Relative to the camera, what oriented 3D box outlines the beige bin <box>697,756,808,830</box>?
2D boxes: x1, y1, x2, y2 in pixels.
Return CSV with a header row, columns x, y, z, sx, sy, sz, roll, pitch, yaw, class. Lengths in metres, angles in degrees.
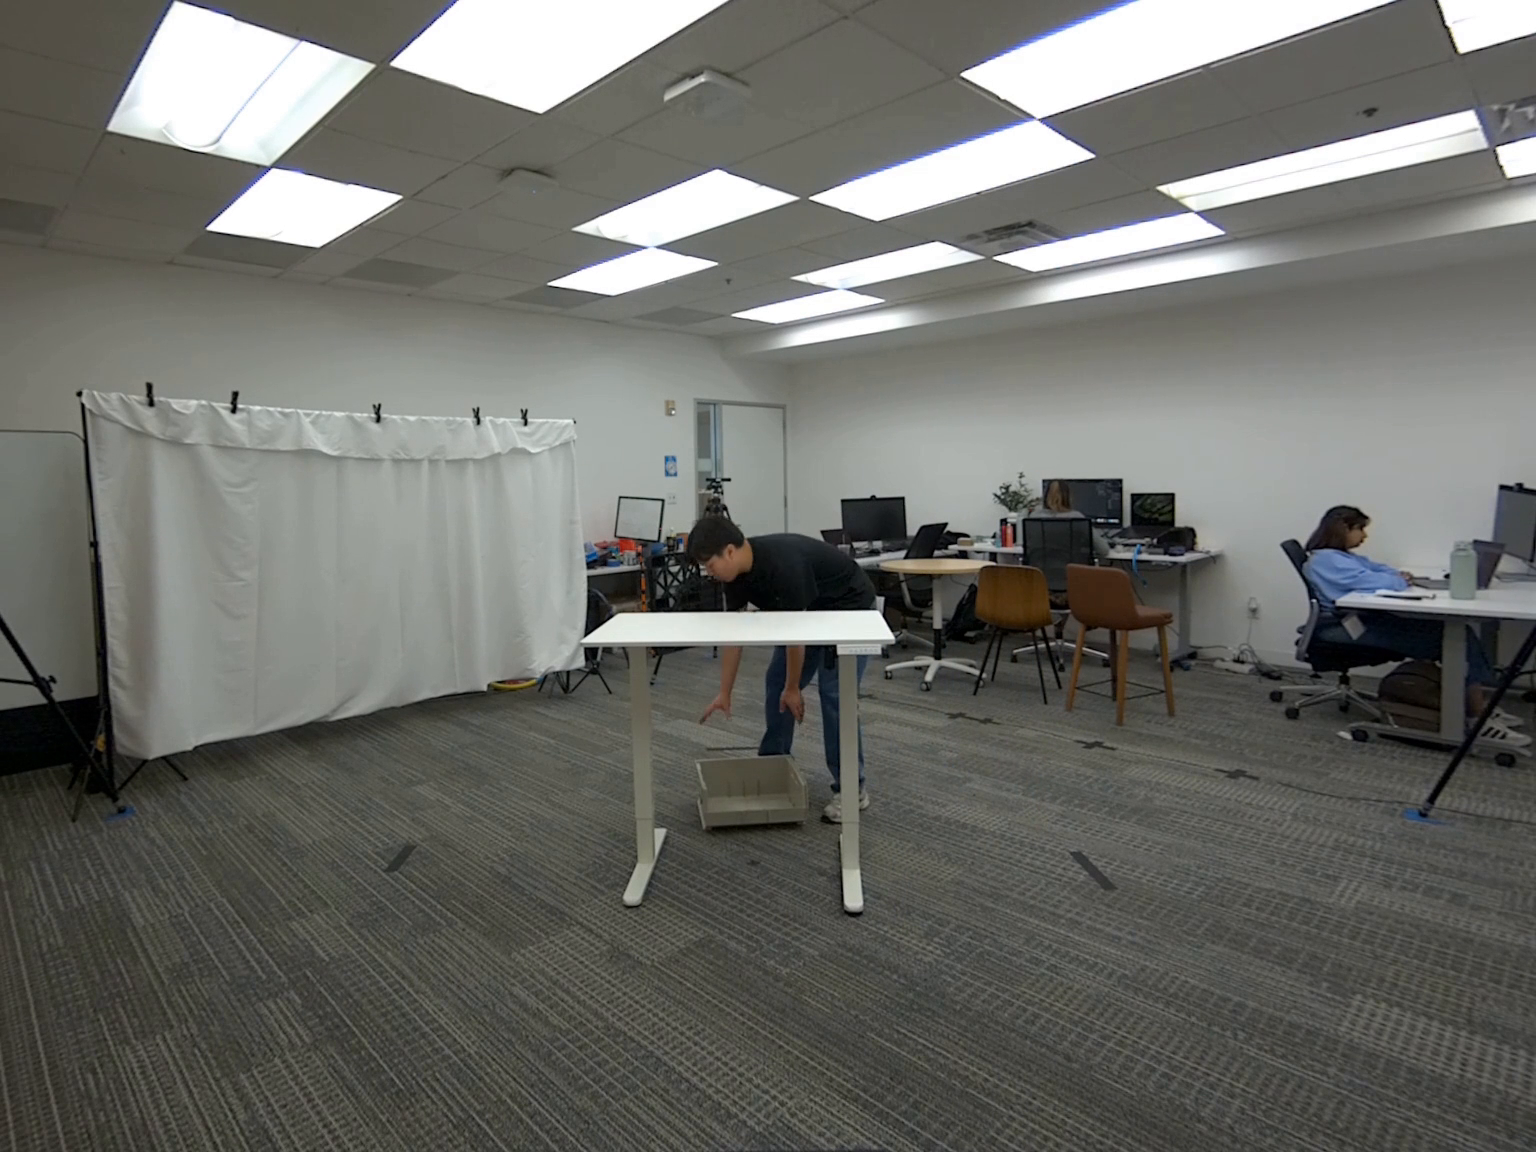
x,y,z,sx,sy,sz,roll,pitch,yaw,class
-0.074,0.905,3.549,0.419,0.188,0.381,-2,5,-8,beige bin
